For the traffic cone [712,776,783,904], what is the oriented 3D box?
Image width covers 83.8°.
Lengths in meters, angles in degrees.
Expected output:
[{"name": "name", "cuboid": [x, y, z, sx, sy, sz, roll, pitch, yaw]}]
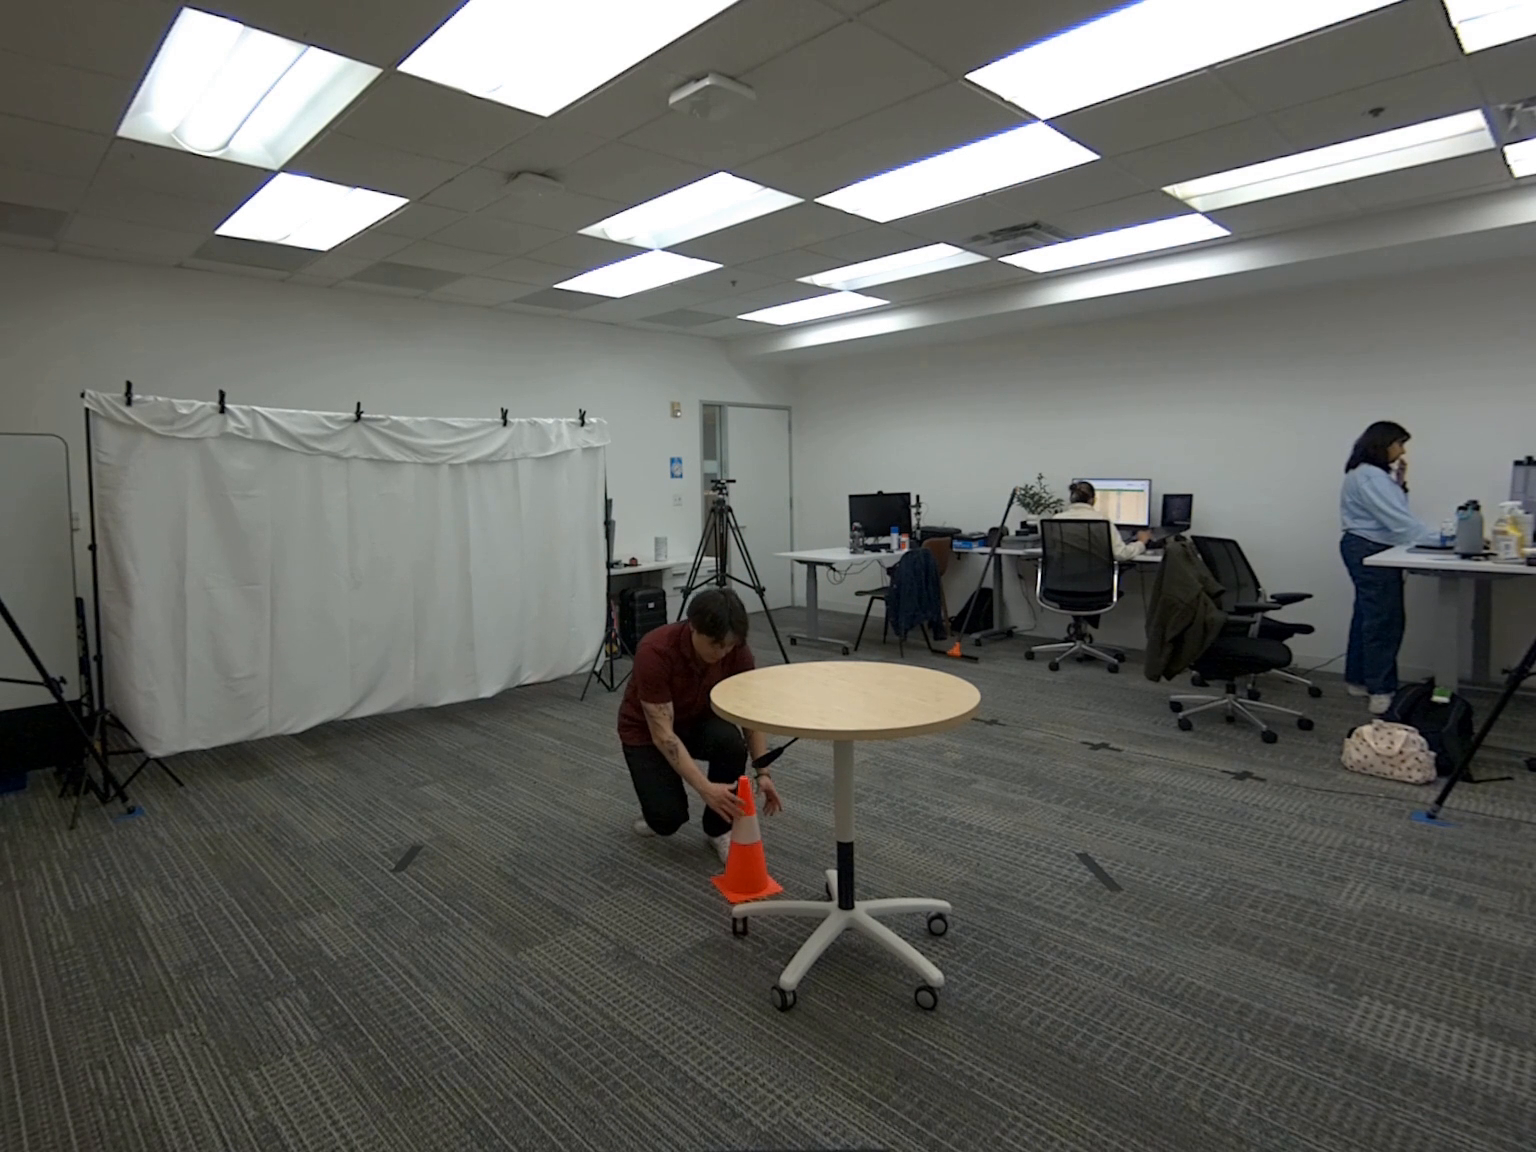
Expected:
[{"name": "traffic cone", "cuboid": [-0.087, 0.881, 2.945, 0.201, 0.382, 0.208, -4, 5, -21]}]
